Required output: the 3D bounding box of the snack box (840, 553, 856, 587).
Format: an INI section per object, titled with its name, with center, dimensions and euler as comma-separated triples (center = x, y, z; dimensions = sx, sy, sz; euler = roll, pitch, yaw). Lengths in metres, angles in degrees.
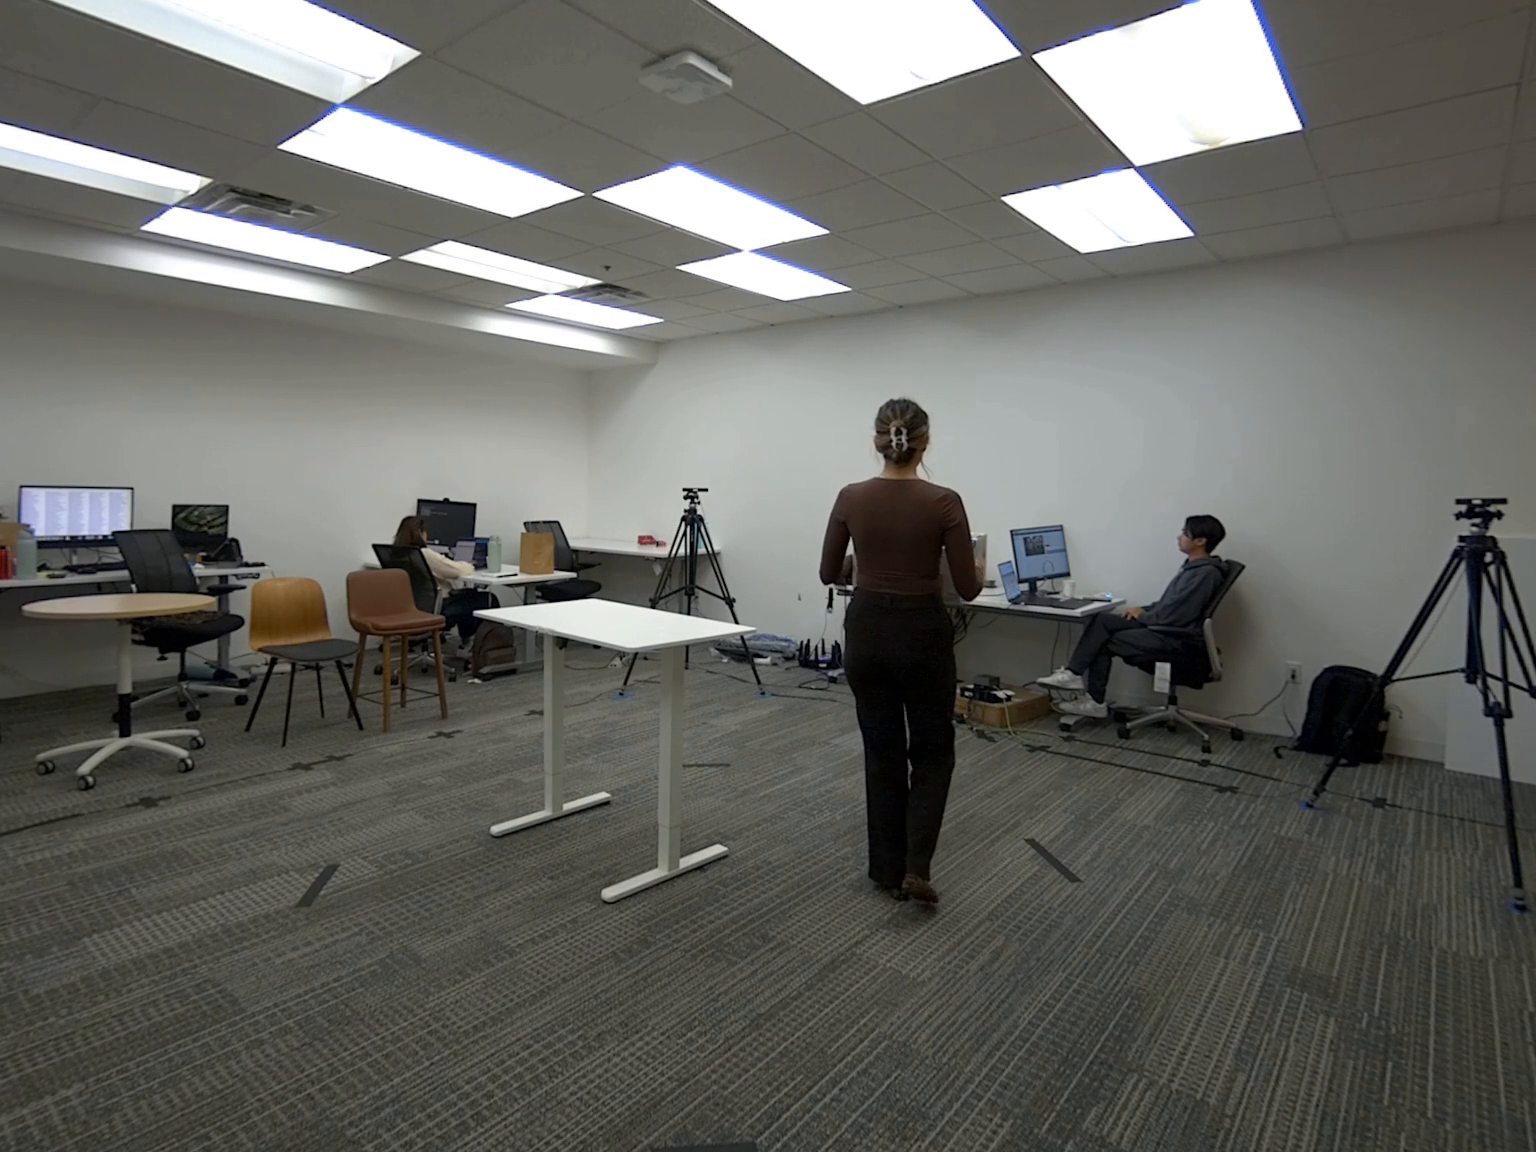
[snack box]
center = 0.559, -0.047, 3.193
dimensions = 0.417, 0.203, 0.334
euler = 6, 15, 29
